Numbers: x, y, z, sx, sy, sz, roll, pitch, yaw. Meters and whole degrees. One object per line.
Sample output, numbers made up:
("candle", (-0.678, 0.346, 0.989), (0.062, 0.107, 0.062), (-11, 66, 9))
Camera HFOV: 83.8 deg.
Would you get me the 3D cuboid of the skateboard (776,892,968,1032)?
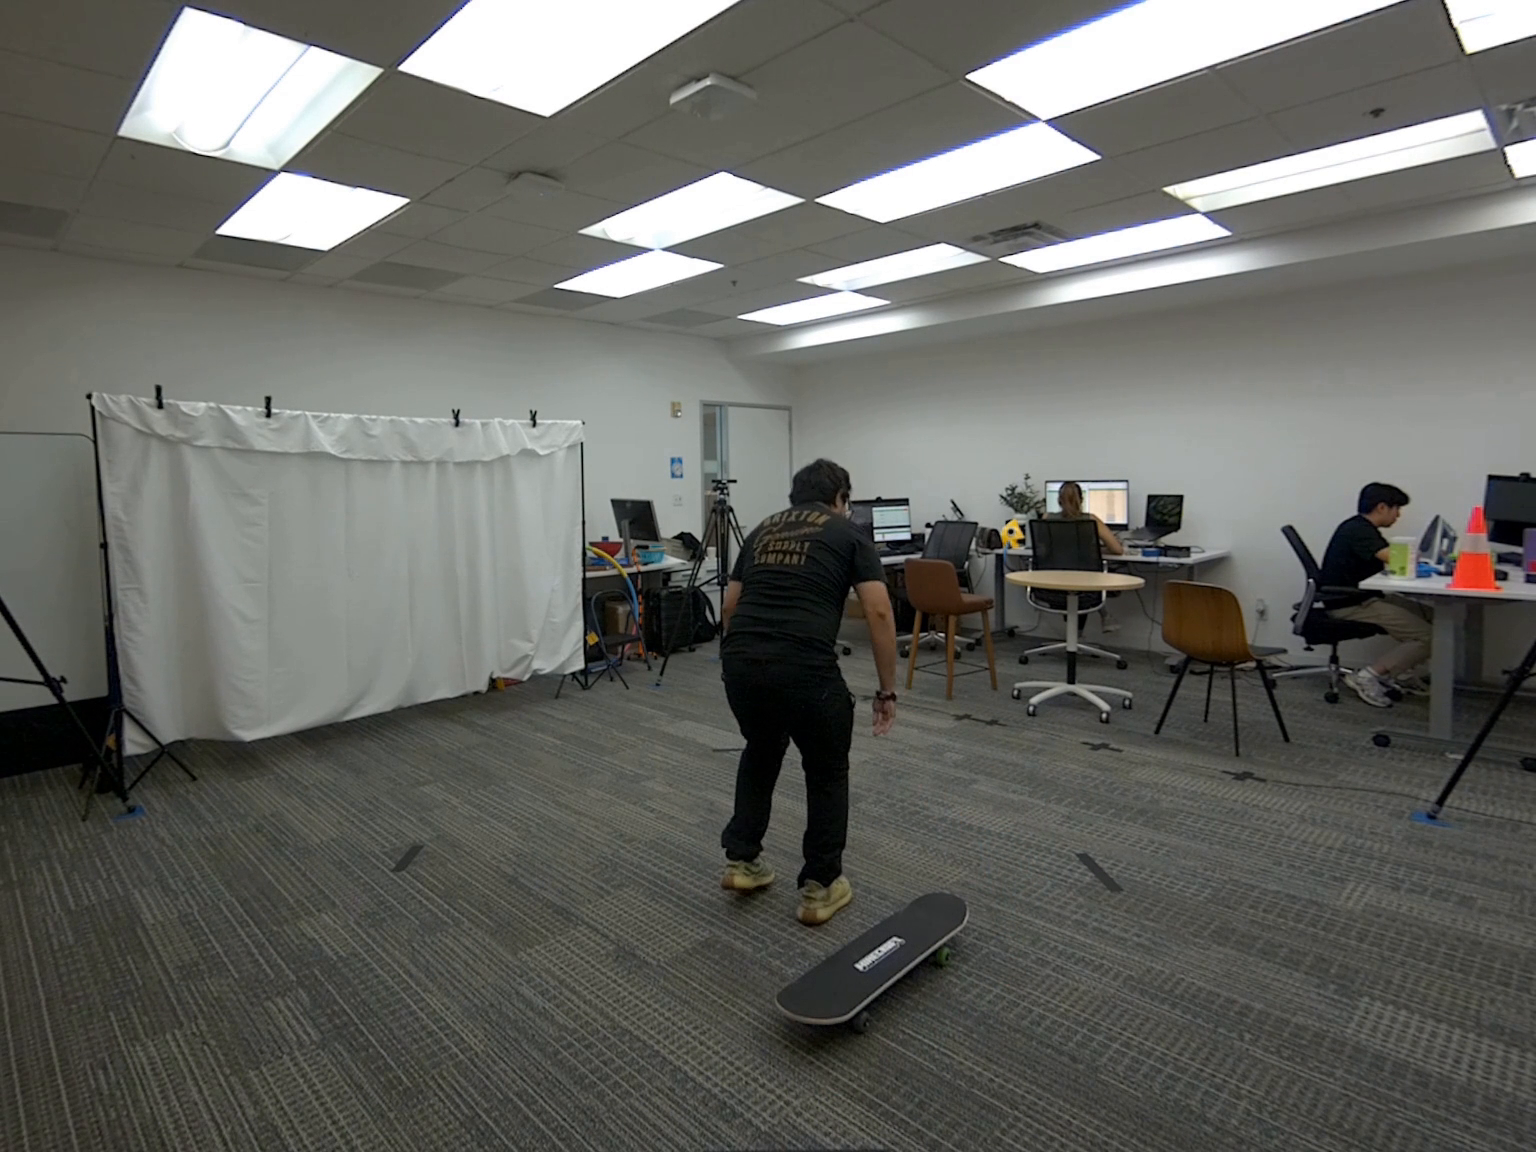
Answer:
("skateboard", (0.324, 1.076, 2.354), (0.199, 0.110, 0.766), (1, 7, 42))
